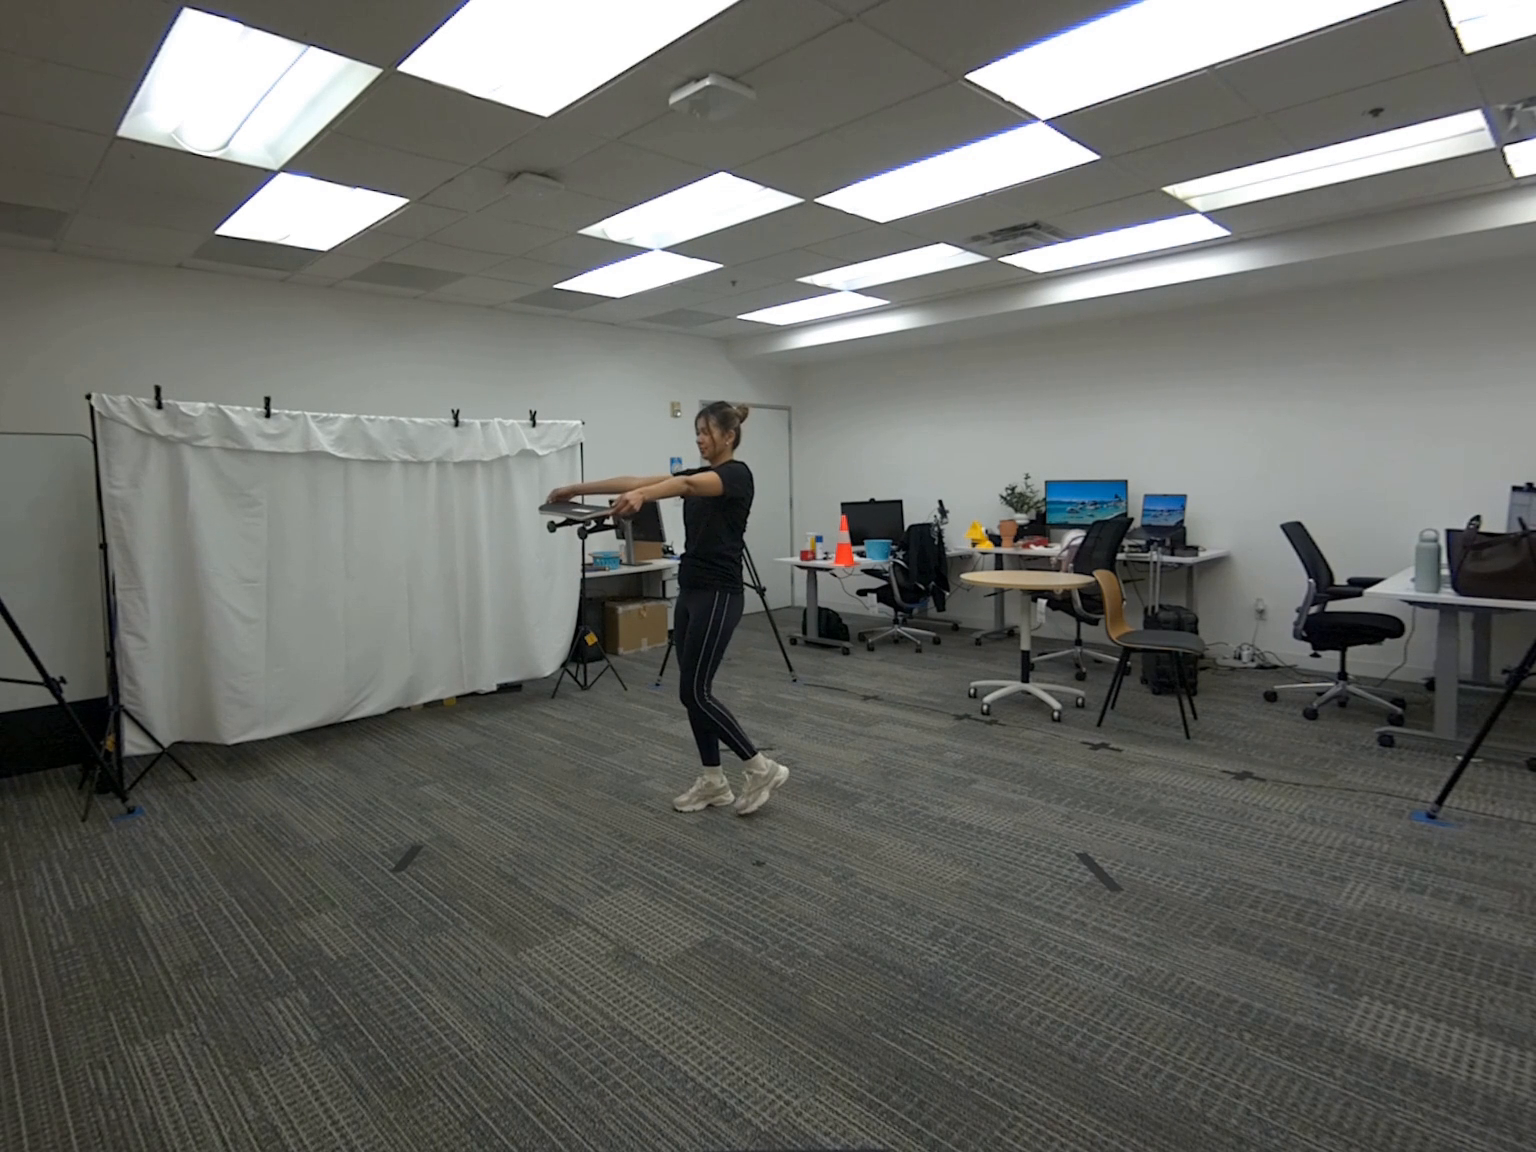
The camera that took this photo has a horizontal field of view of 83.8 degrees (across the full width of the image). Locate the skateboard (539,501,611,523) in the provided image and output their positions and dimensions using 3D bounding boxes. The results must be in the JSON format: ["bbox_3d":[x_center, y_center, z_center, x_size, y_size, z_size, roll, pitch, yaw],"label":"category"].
[{"bbox_3d":[-0.728,-0.225,3.382,0.190,0.109,0.807,-15,13,-26],"label":"skateboard"}]
